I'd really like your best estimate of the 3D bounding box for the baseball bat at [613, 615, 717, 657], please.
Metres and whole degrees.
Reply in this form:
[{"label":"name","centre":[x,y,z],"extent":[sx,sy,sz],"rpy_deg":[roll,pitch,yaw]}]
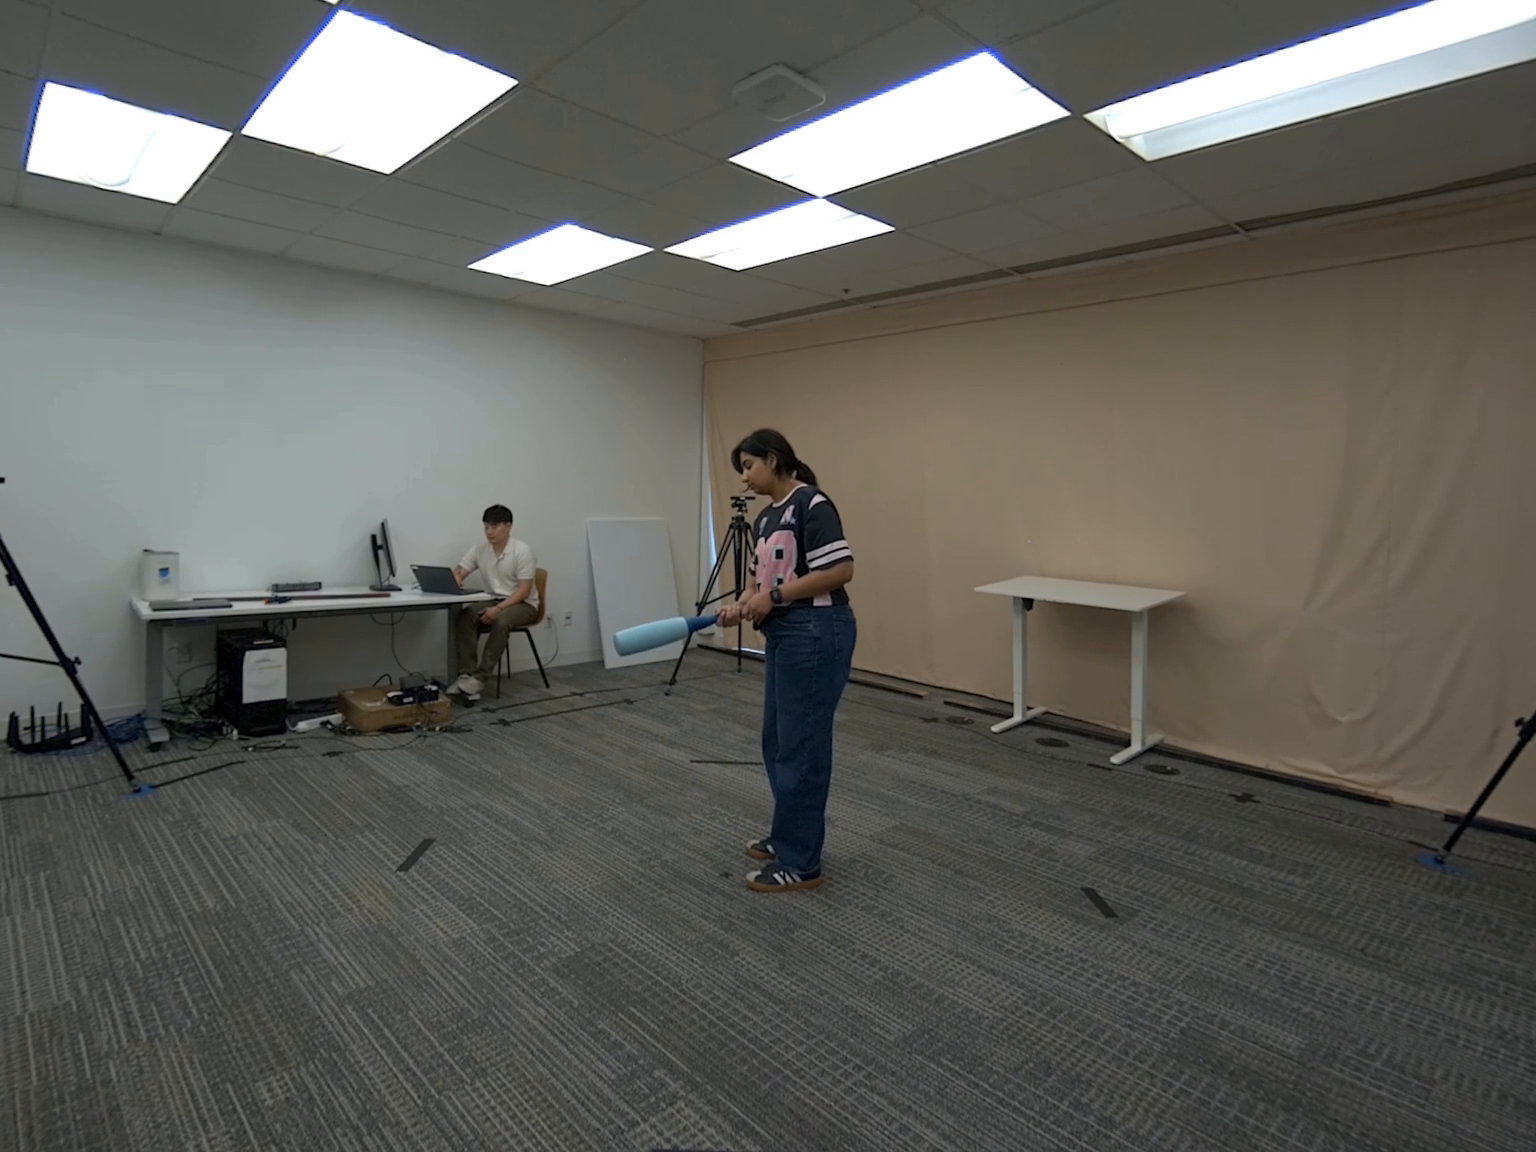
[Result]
[{"label":"baseball bat","centre":[-0.272,0.173,2.903],"extent":[0.537,0.088,0.090],"rpy_deg":[-13,9,-19]}]
